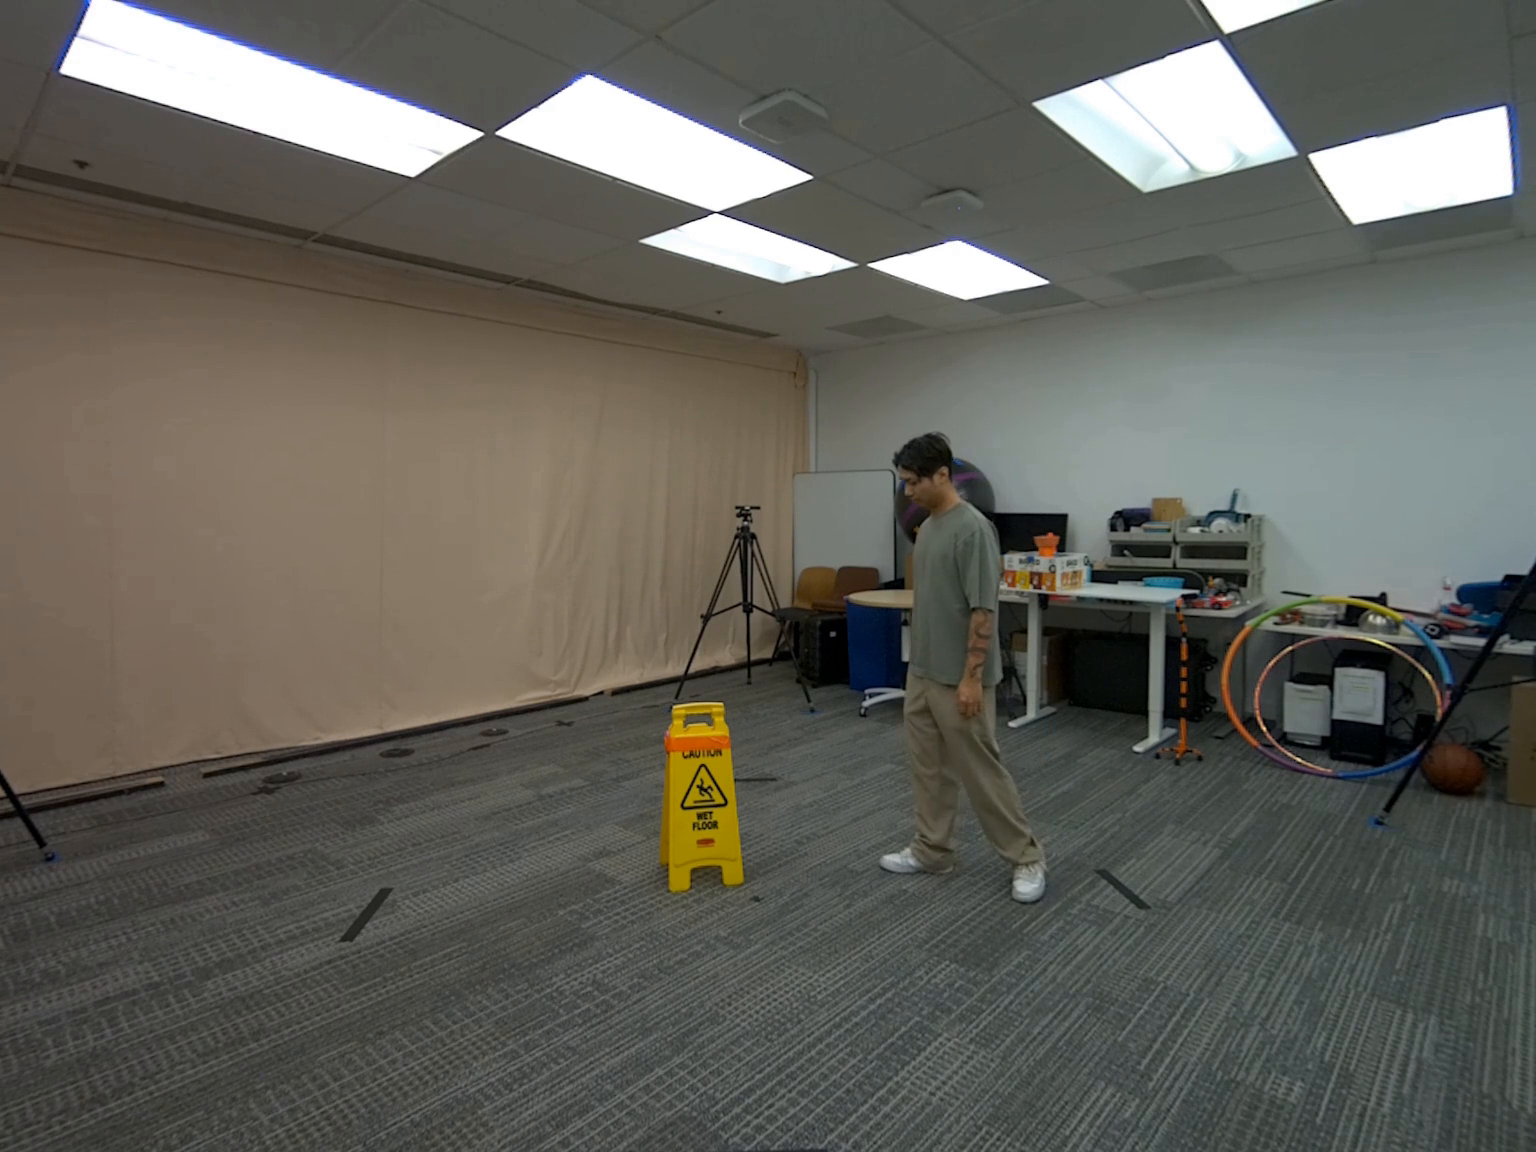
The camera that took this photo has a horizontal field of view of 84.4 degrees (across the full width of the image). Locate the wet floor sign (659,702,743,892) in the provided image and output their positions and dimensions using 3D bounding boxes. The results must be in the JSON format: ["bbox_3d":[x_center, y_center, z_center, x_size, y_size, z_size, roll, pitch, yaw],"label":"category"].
[{"bbox_3d":[-0.263,0.805,3.180,0.279,0.645,0.294,-2,3,-13],"label":"wet floor sign"}]
